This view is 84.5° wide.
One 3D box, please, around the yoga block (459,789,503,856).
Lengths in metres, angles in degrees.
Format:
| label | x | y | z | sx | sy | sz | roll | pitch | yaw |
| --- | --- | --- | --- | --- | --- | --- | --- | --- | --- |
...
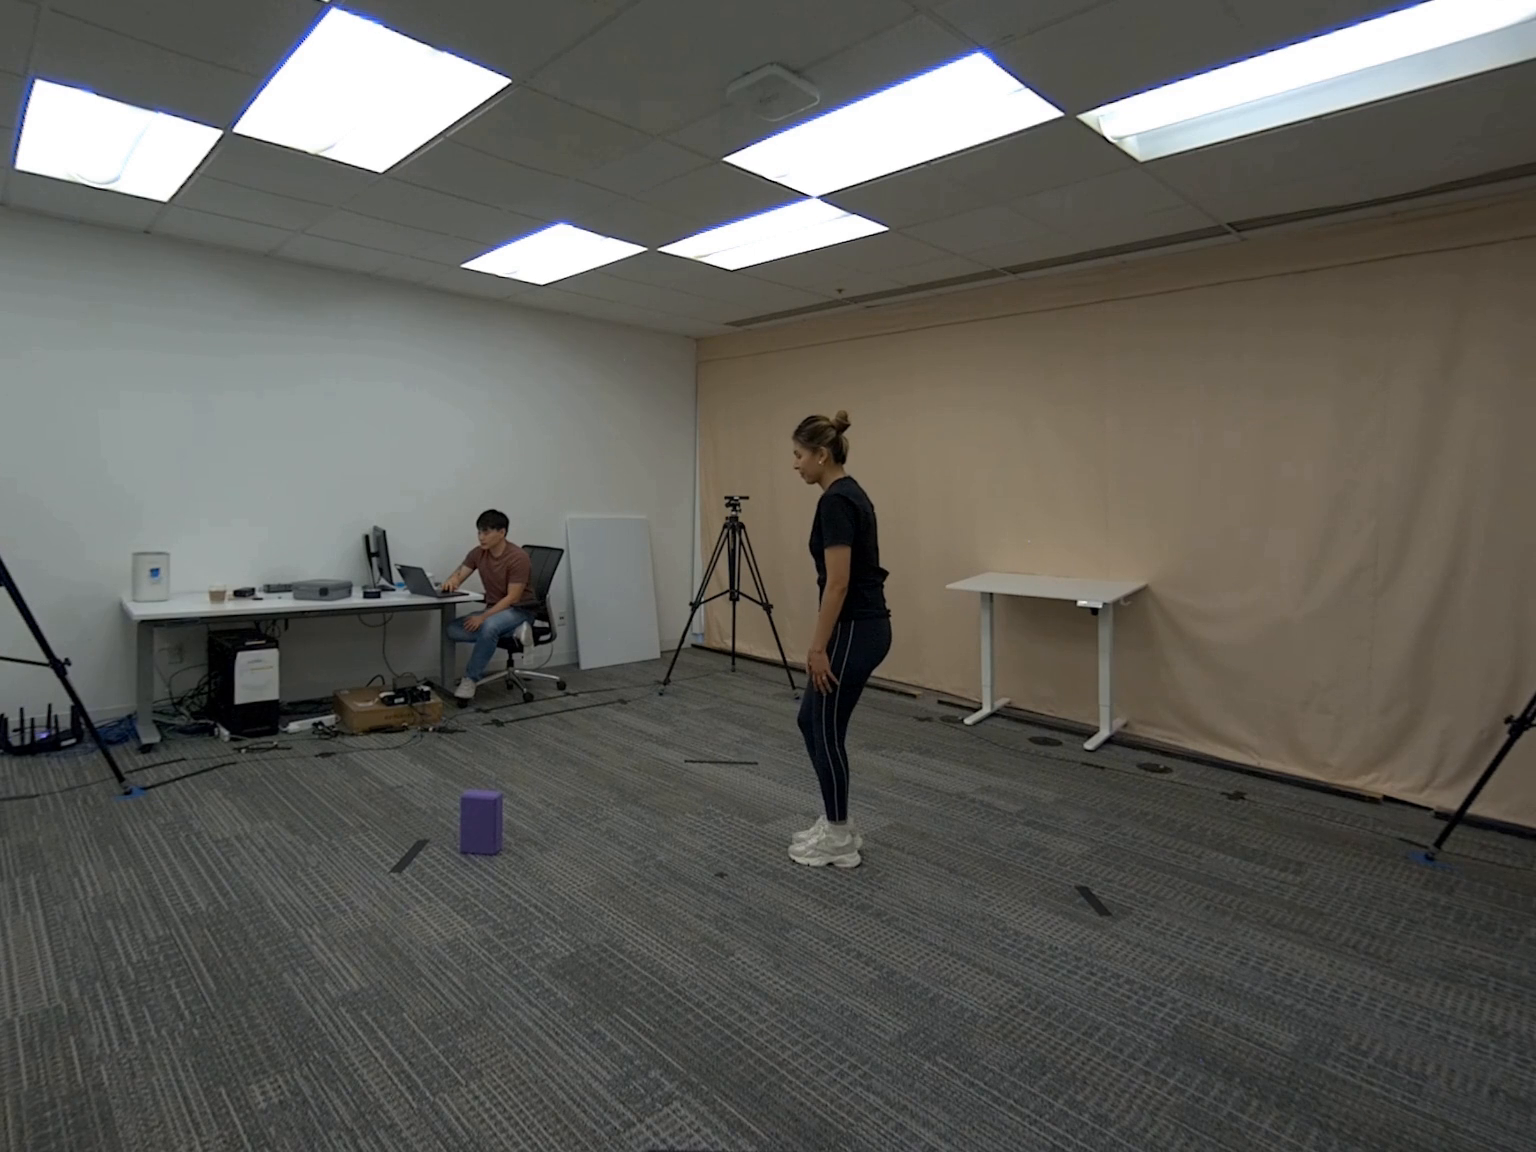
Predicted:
| label | x | y | z | sx | sy | sz | roll | pitch | yaw |
| --- | --- | --- | --- | --- | --- | --- | --- | --- | --- |
| yoga block | -1.121 | 0.959 | 3.258 | 0.150 | 0.229 | 0.076 | 0 | 3 | 8 |
